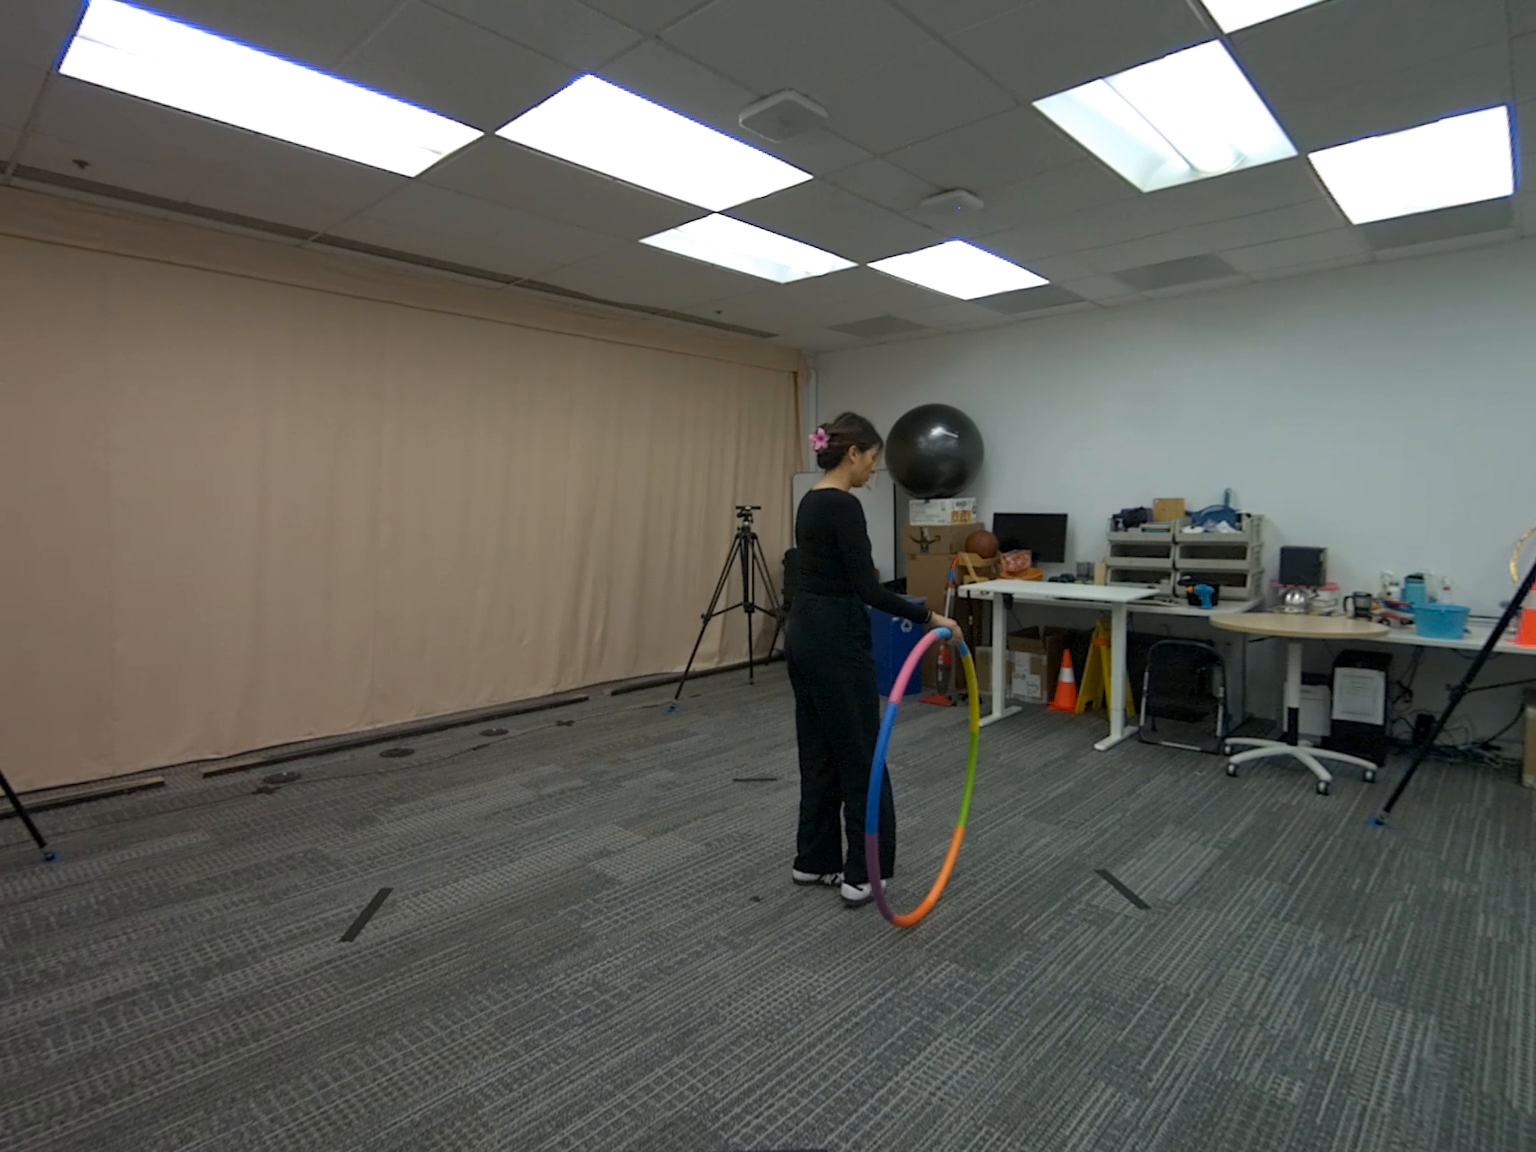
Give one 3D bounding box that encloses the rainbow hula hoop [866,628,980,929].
[{"bbox_3d":[0.544,0.666,2.829,0.036,0.976,0.951,5,6,32],"label":"rainbow hula hoop"}]
